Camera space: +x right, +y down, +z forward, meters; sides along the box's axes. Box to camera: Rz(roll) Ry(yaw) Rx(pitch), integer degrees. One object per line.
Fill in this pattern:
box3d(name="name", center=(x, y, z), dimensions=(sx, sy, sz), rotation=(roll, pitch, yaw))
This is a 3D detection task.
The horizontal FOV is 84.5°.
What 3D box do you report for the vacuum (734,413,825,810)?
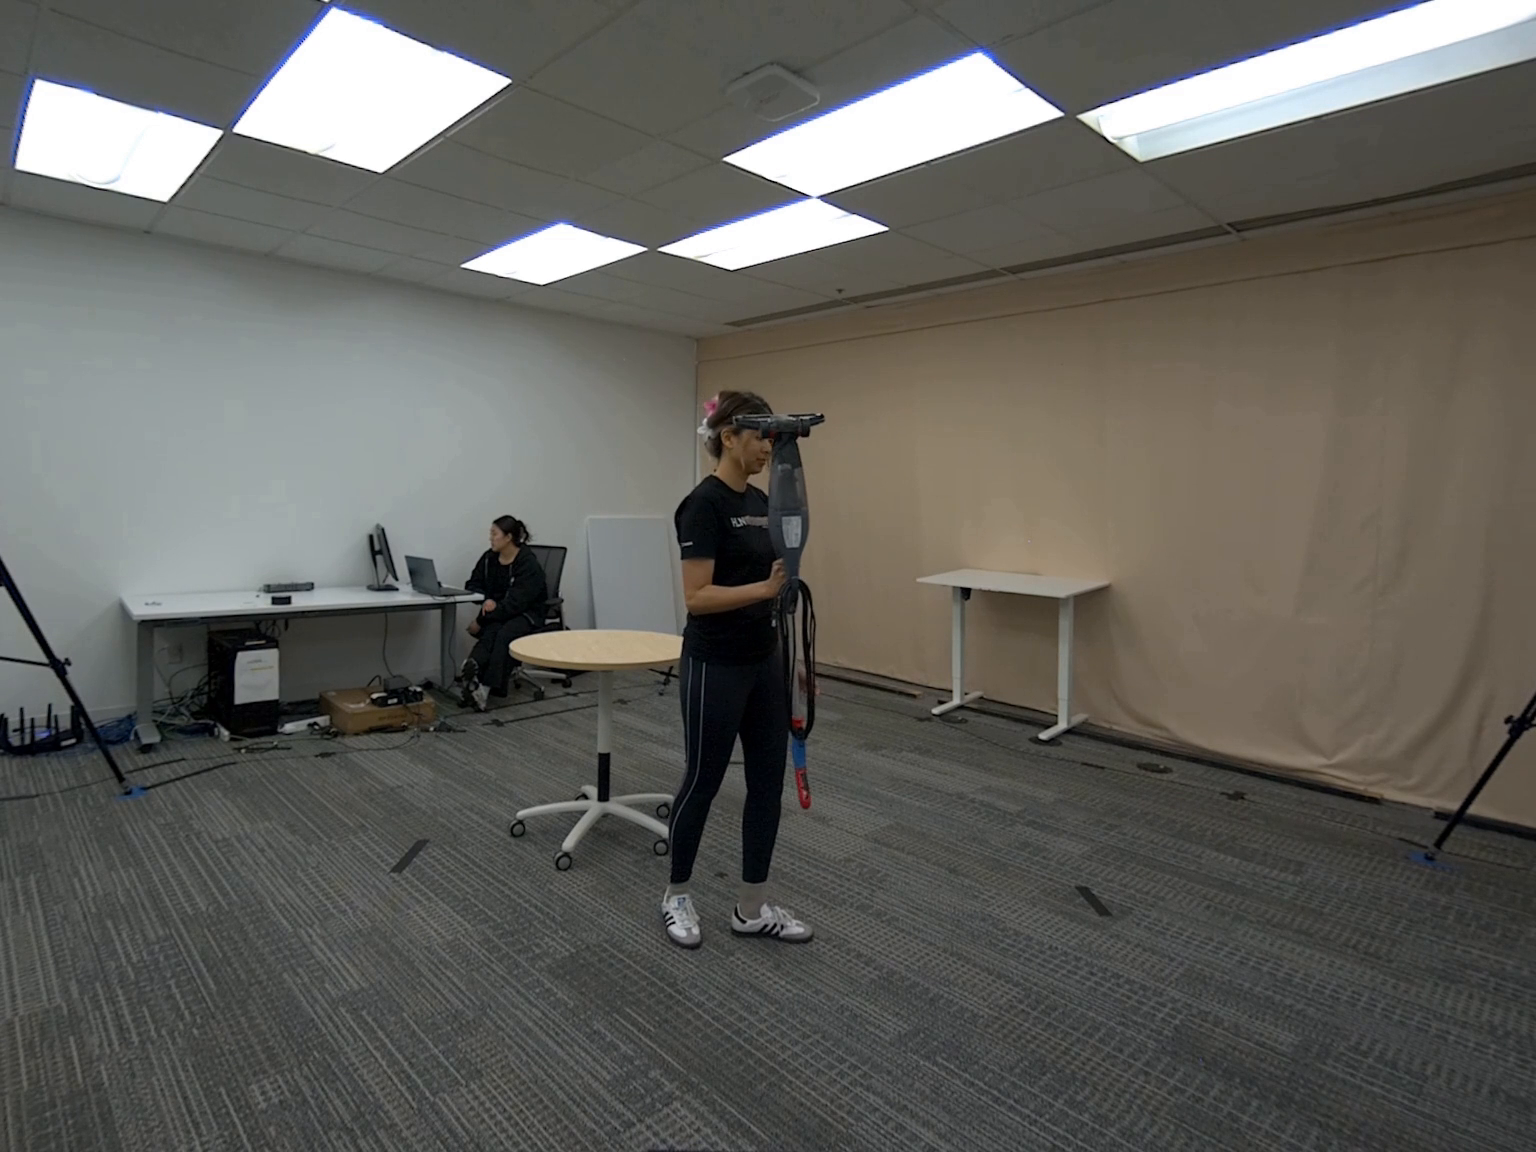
box3d(name="vacuum", center=(0.074, 0.093, 2.254), dimensions=(0.252, 1.052, 0.144), rotation=(-4, -4, -1))
